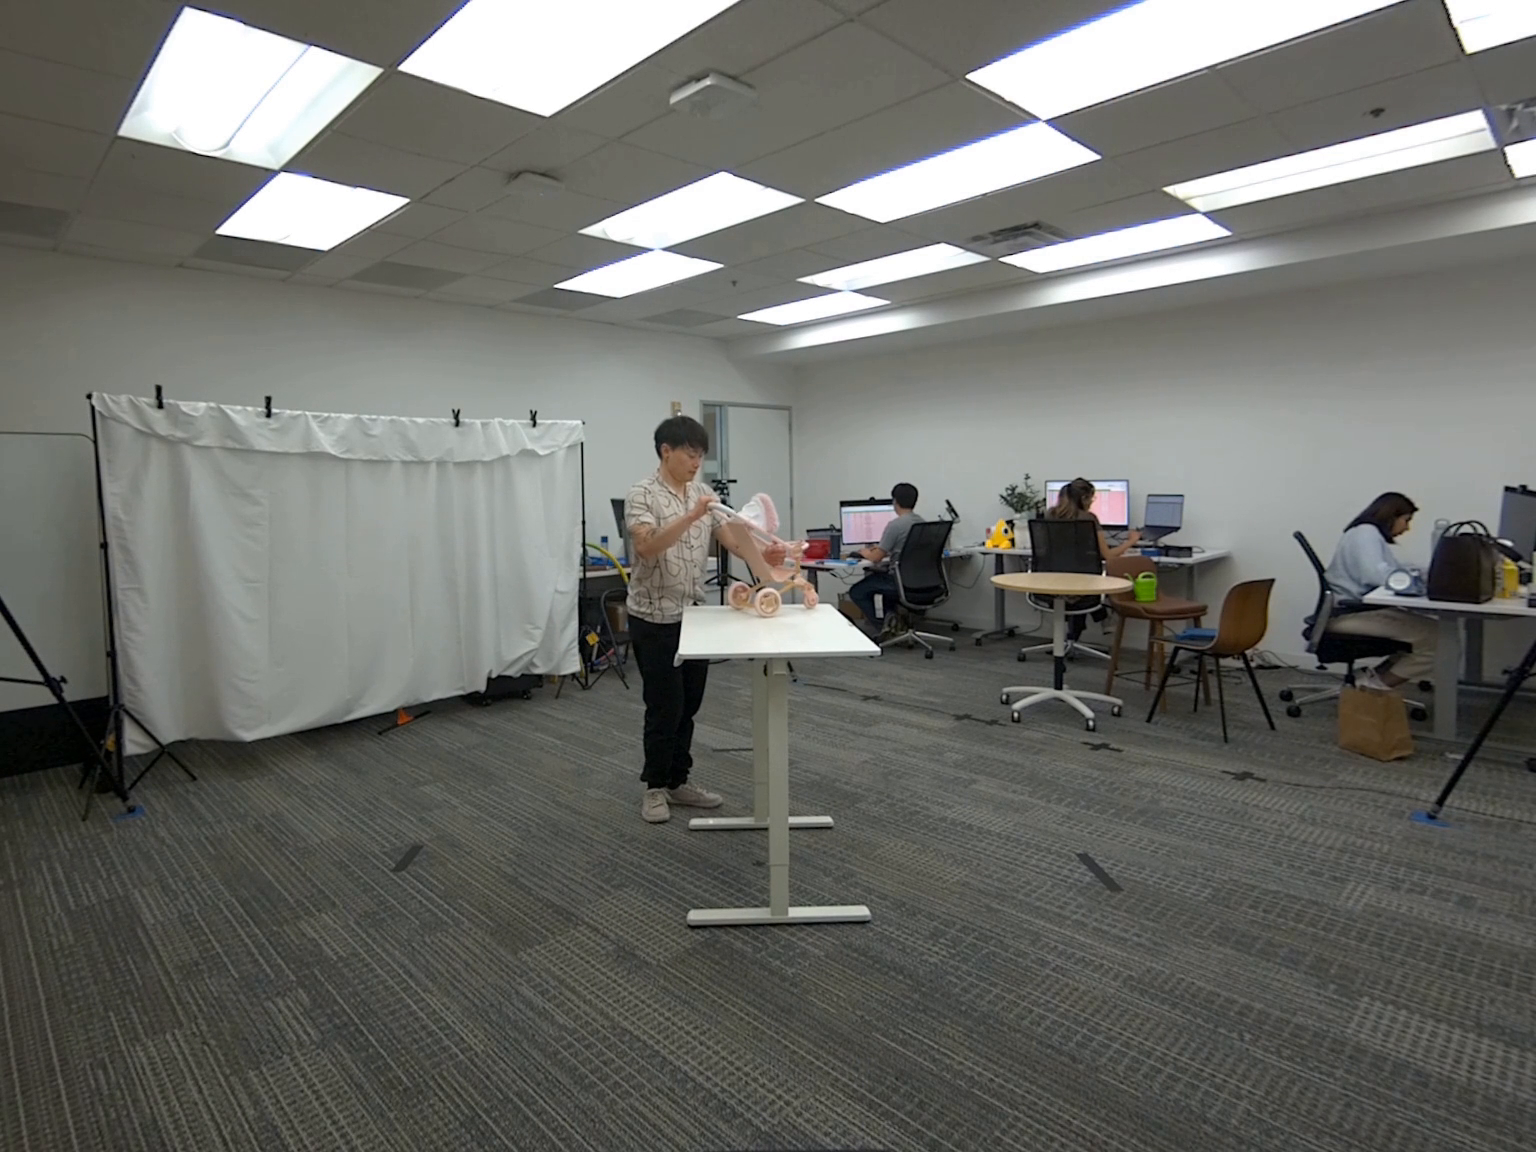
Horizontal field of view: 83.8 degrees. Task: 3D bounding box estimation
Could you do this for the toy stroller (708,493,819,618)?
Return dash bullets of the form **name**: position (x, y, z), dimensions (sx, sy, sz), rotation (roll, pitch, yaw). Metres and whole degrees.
- **toy stroller**: position (-0.005, -0.081, 3.319), dimensions (0.337, 0.529, 0.287), rotation (-19, 10, -18)
